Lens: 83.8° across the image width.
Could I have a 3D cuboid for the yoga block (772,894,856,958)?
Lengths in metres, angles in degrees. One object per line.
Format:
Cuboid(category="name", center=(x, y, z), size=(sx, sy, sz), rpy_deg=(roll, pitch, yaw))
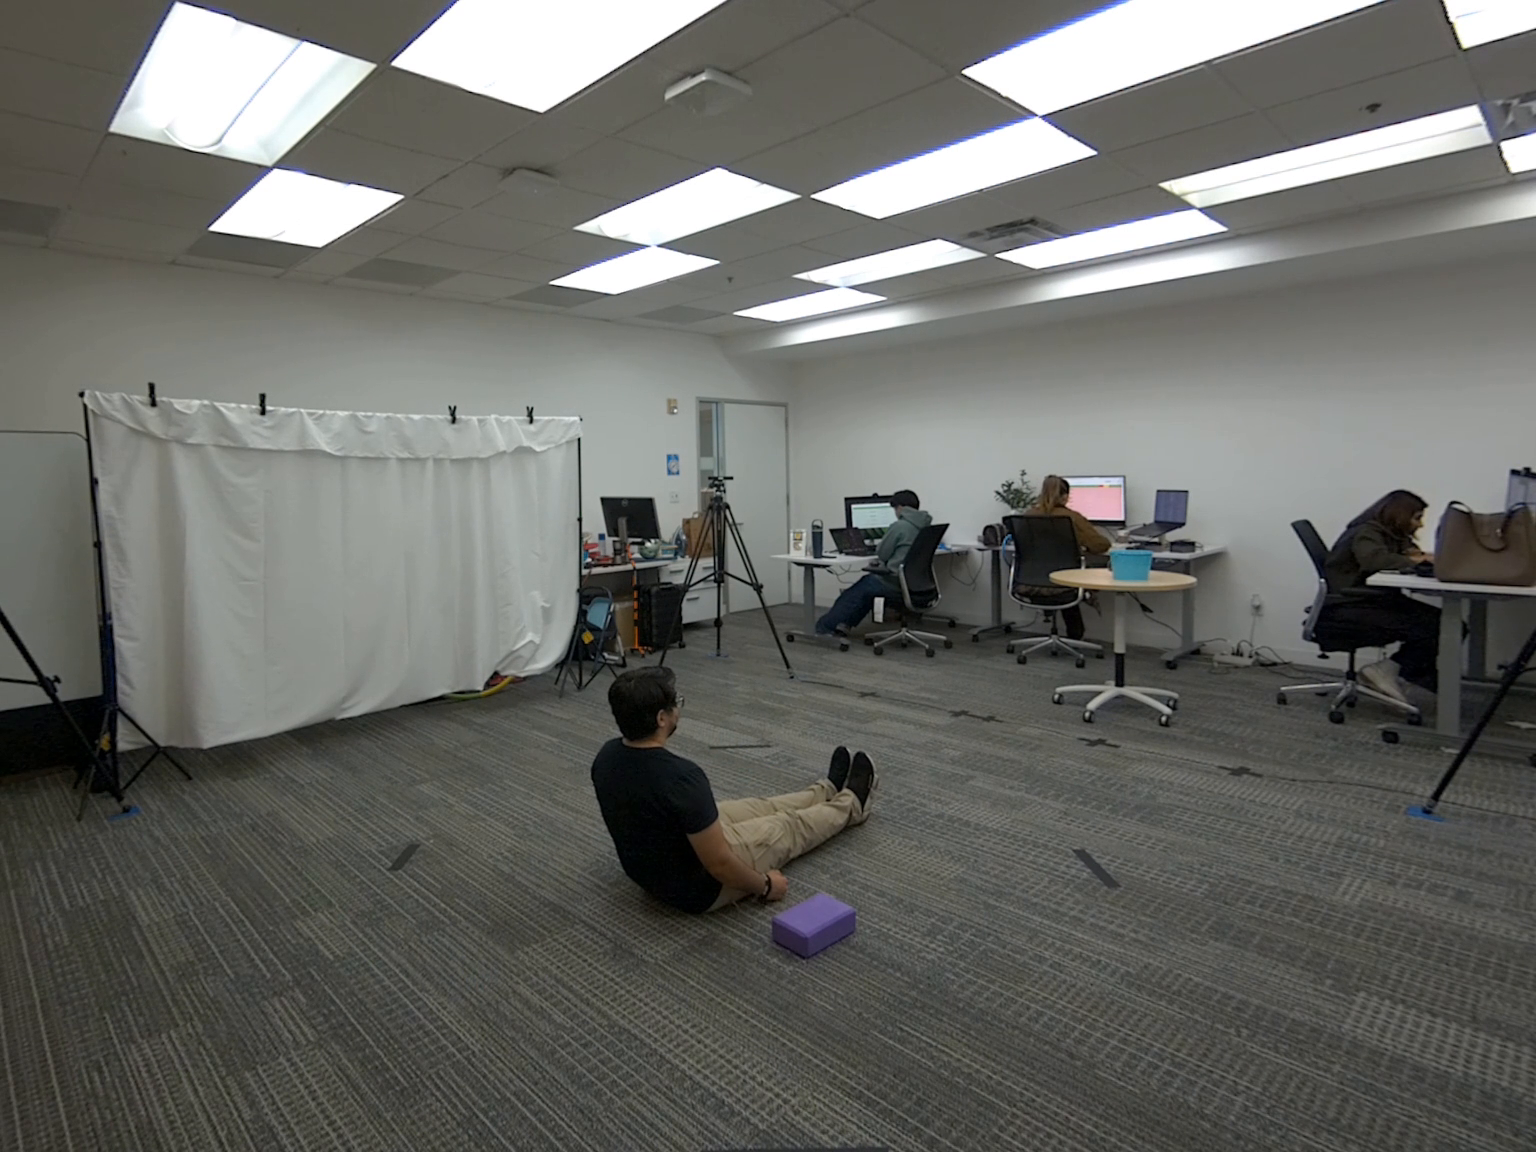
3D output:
Cuboid(category="yoga block", center=(0.140, 1.050, 2.592), size=(0.223, 0.076, 0.154), rpy_deg=(-5, 8, -42))
